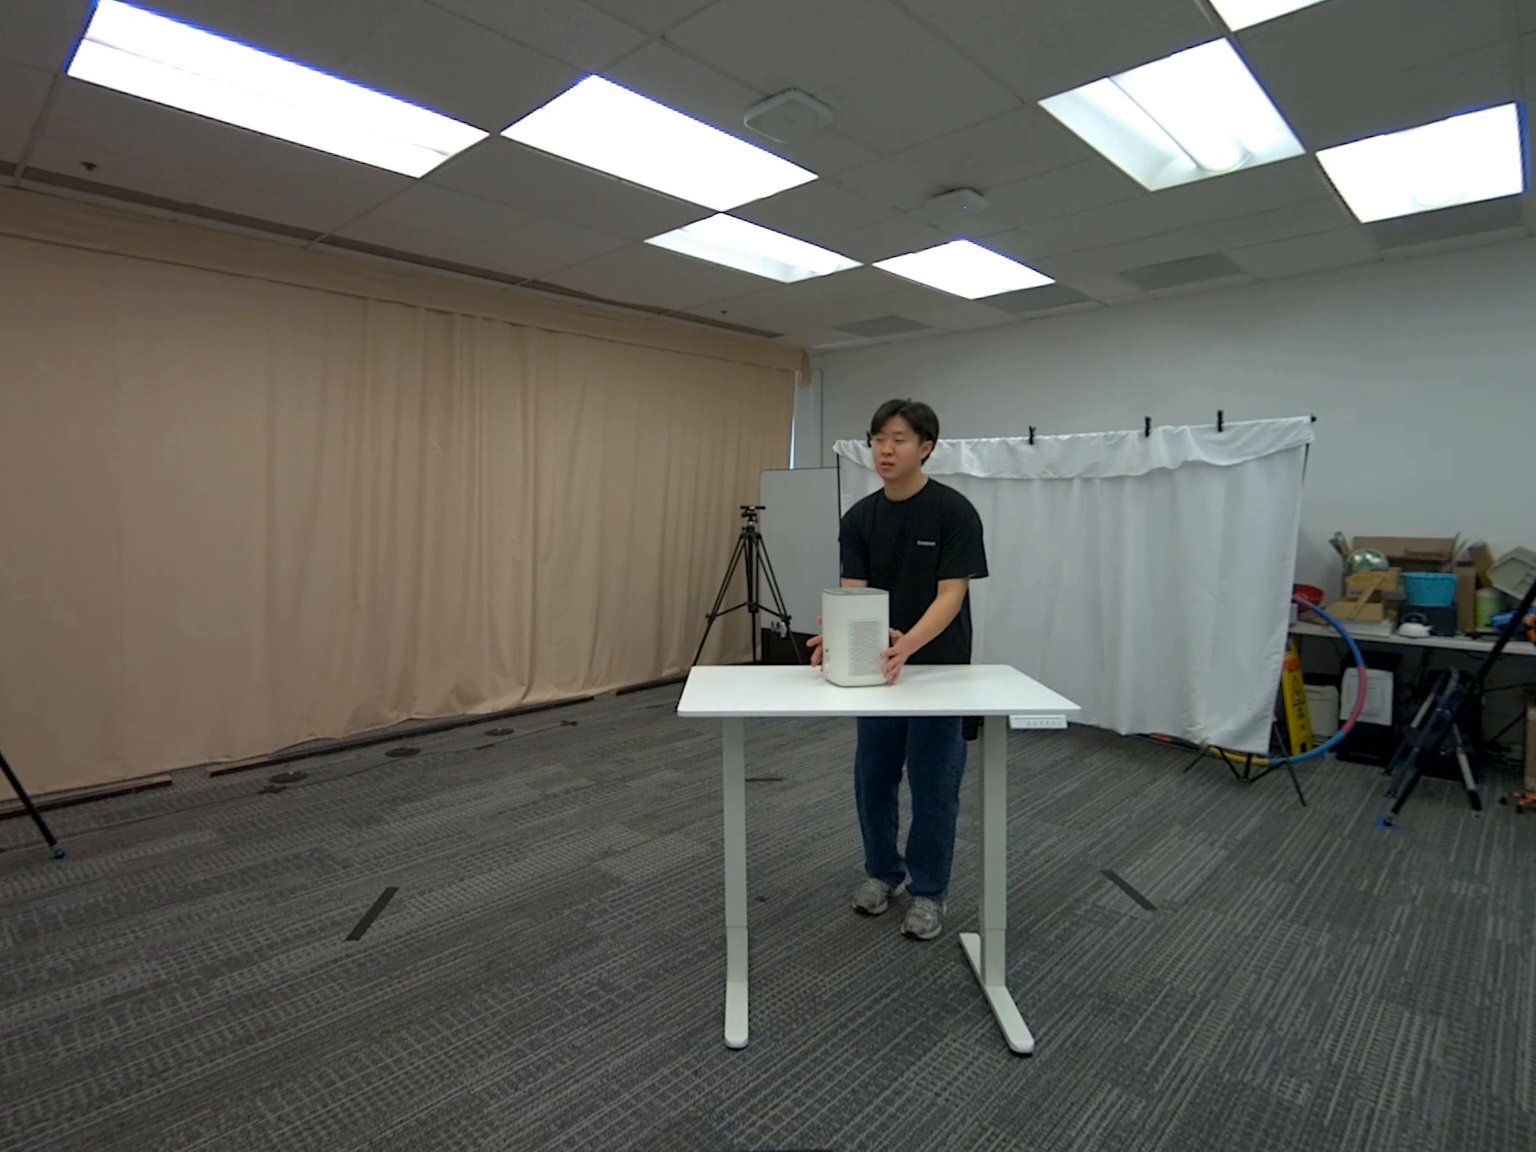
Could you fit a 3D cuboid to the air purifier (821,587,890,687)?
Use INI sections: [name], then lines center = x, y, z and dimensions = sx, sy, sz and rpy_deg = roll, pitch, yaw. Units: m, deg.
[air purifier]
center = 0.252, 0.174, 2.416
dimensions = 0.169, 0.265, 0.173
rpy_deg = -2, 1, -12
